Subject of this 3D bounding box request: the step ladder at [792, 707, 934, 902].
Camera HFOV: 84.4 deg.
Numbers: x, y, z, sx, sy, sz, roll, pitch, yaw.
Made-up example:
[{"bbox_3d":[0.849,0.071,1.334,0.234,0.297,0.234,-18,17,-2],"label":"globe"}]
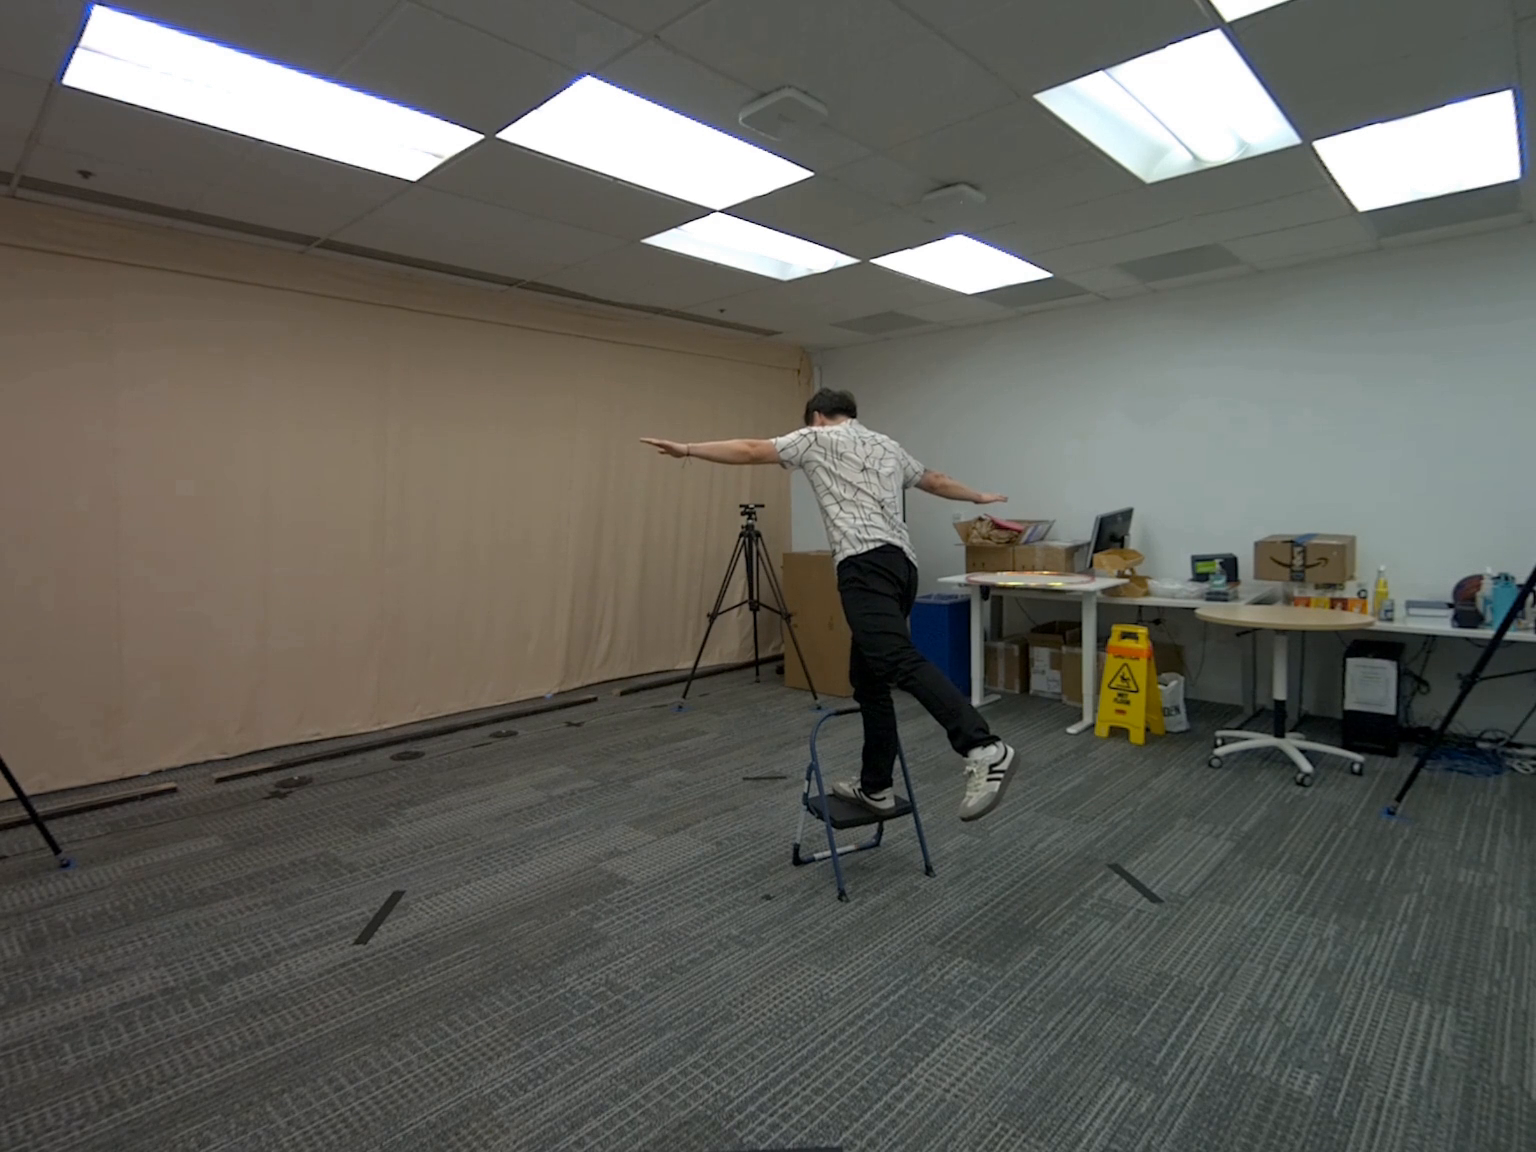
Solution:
[{"bbox_3d":[0.357,0.813,3.173,0.419,0.605,0.359,-3,4,-30],"label":"step ladder"}]
